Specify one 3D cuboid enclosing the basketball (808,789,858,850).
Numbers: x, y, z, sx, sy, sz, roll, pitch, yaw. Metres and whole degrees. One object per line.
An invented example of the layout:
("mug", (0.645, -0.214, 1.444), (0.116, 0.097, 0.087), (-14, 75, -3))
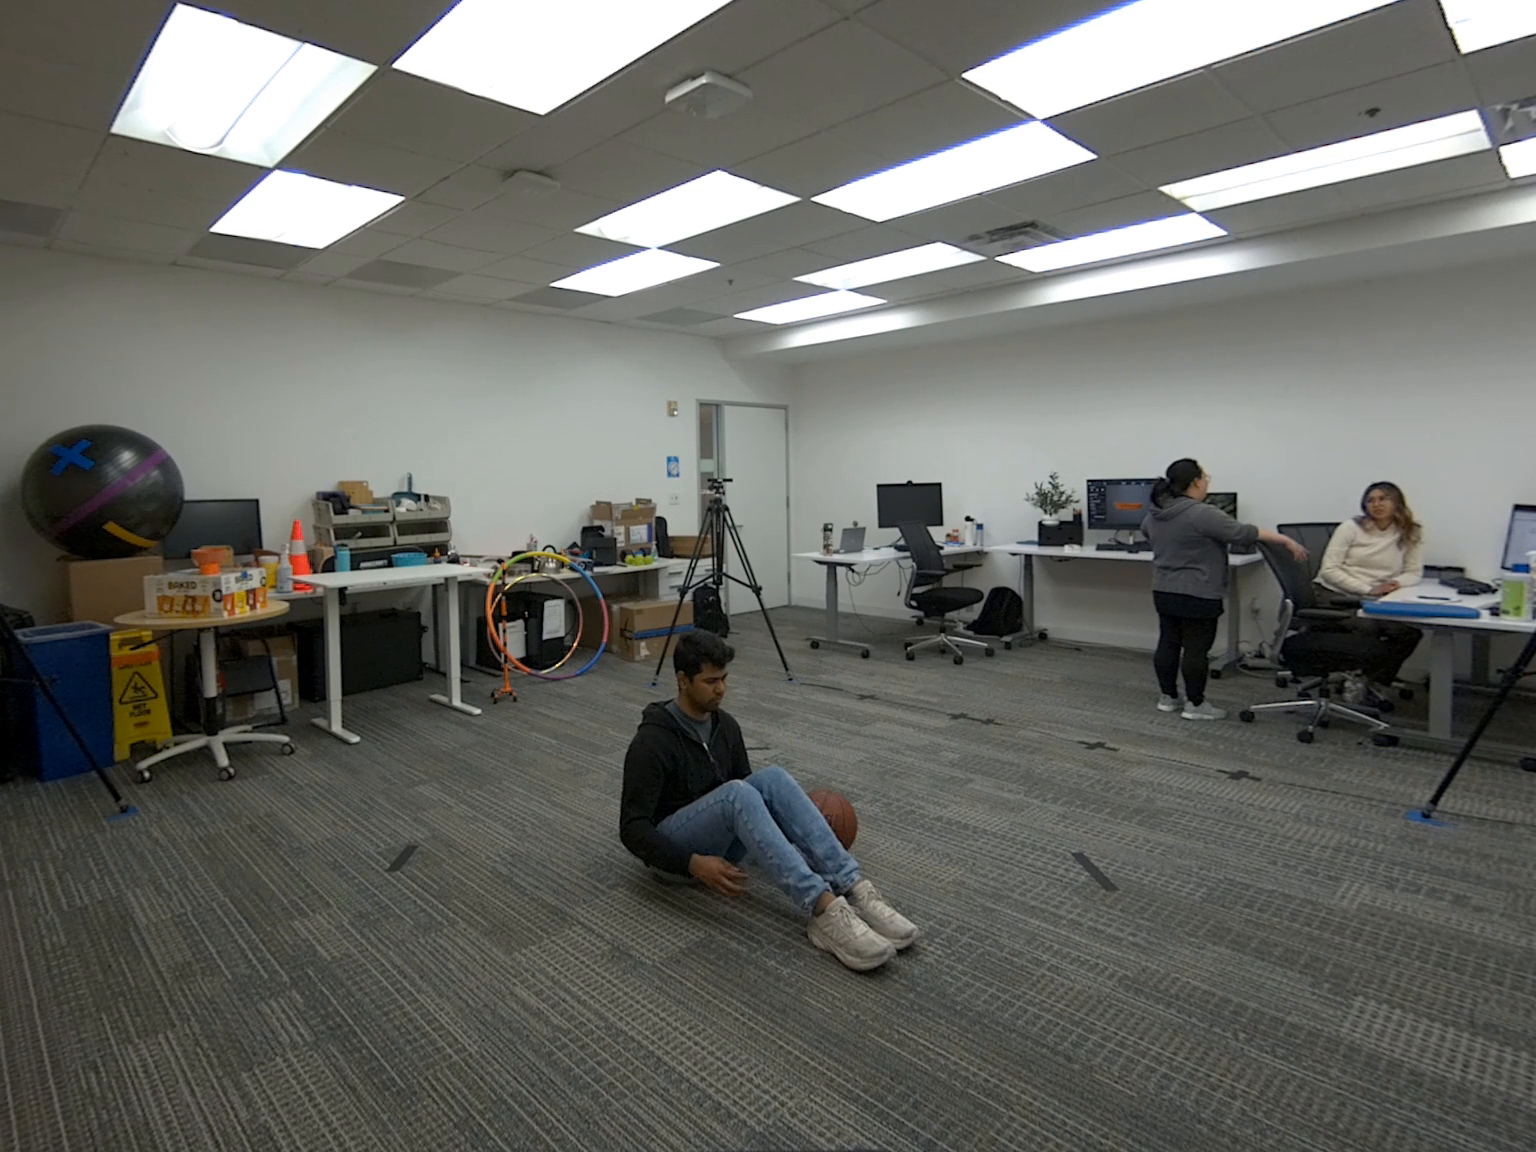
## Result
("basketball", (0.187, 0.845, 2.993), (0.236, 0.235, 0.237), (-1, 5, -2))
